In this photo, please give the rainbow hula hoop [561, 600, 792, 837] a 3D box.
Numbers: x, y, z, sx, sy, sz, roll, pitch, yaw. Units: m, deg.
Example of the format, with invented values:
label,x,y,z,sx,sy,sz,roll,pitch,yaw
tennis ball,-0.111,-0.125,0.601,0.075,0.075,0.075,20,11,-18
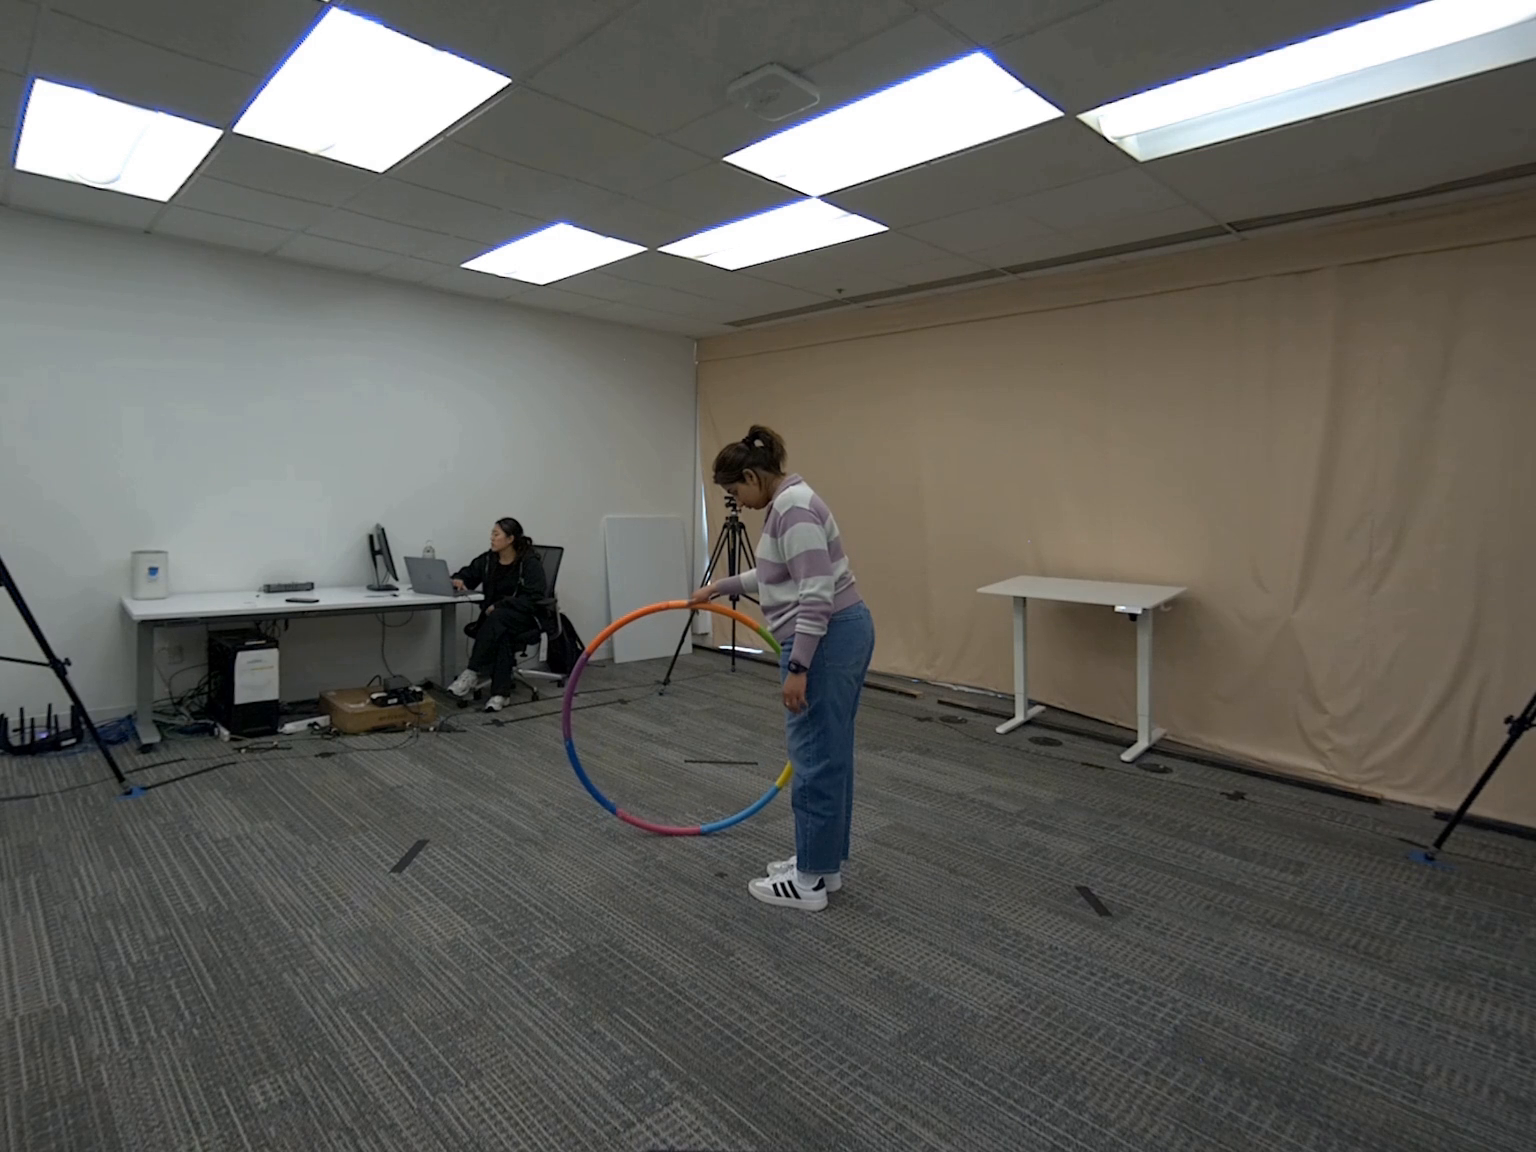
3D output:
label,x,y,z,sx,sy,sz,roll,pitch,yaw
rainbow hula hoop,-0.338,0.578,3.404,0.975,0.973,0.036,1,7,-4
